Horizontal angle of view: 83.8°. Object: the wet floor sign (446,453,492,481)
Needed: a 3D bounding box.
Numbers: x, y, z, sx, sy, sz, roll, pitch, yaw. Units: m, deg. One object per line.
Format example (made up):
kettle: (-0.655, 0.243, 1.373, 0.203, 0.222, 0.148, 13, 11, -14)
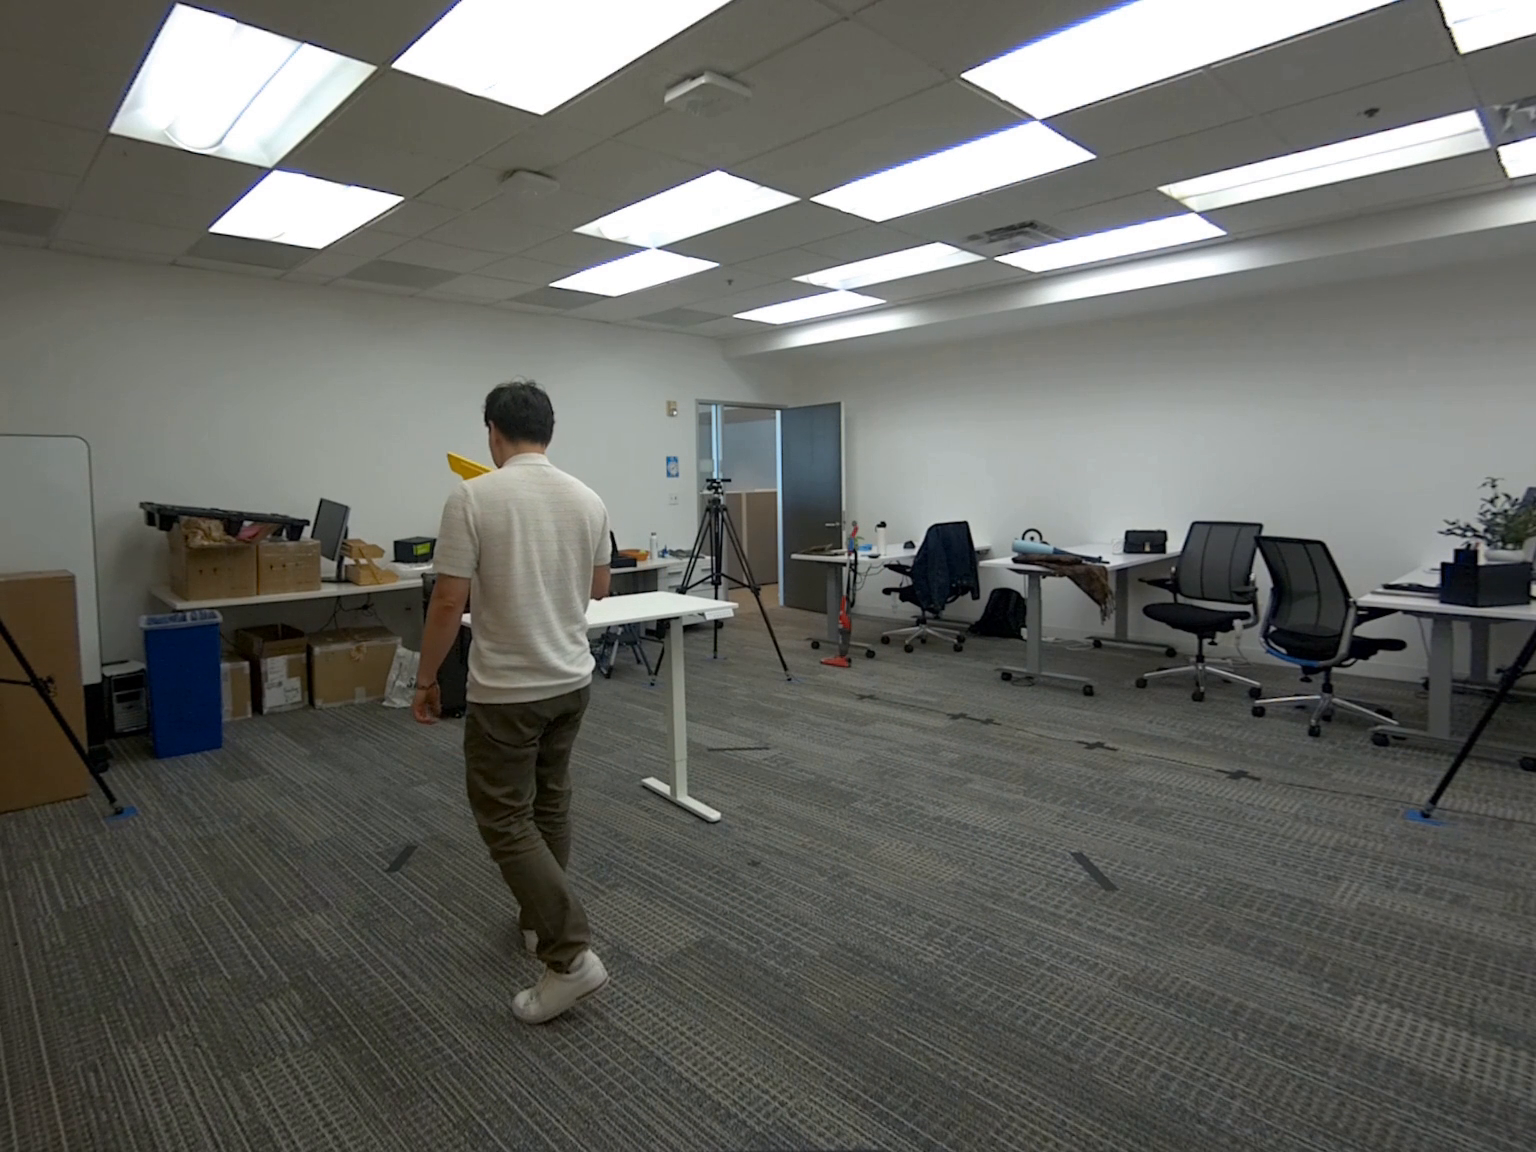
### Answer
wet floor sign: (-0.841, -0.277, 3.023, 0.286, 0.274, 0.671, -27, 36, -27)
